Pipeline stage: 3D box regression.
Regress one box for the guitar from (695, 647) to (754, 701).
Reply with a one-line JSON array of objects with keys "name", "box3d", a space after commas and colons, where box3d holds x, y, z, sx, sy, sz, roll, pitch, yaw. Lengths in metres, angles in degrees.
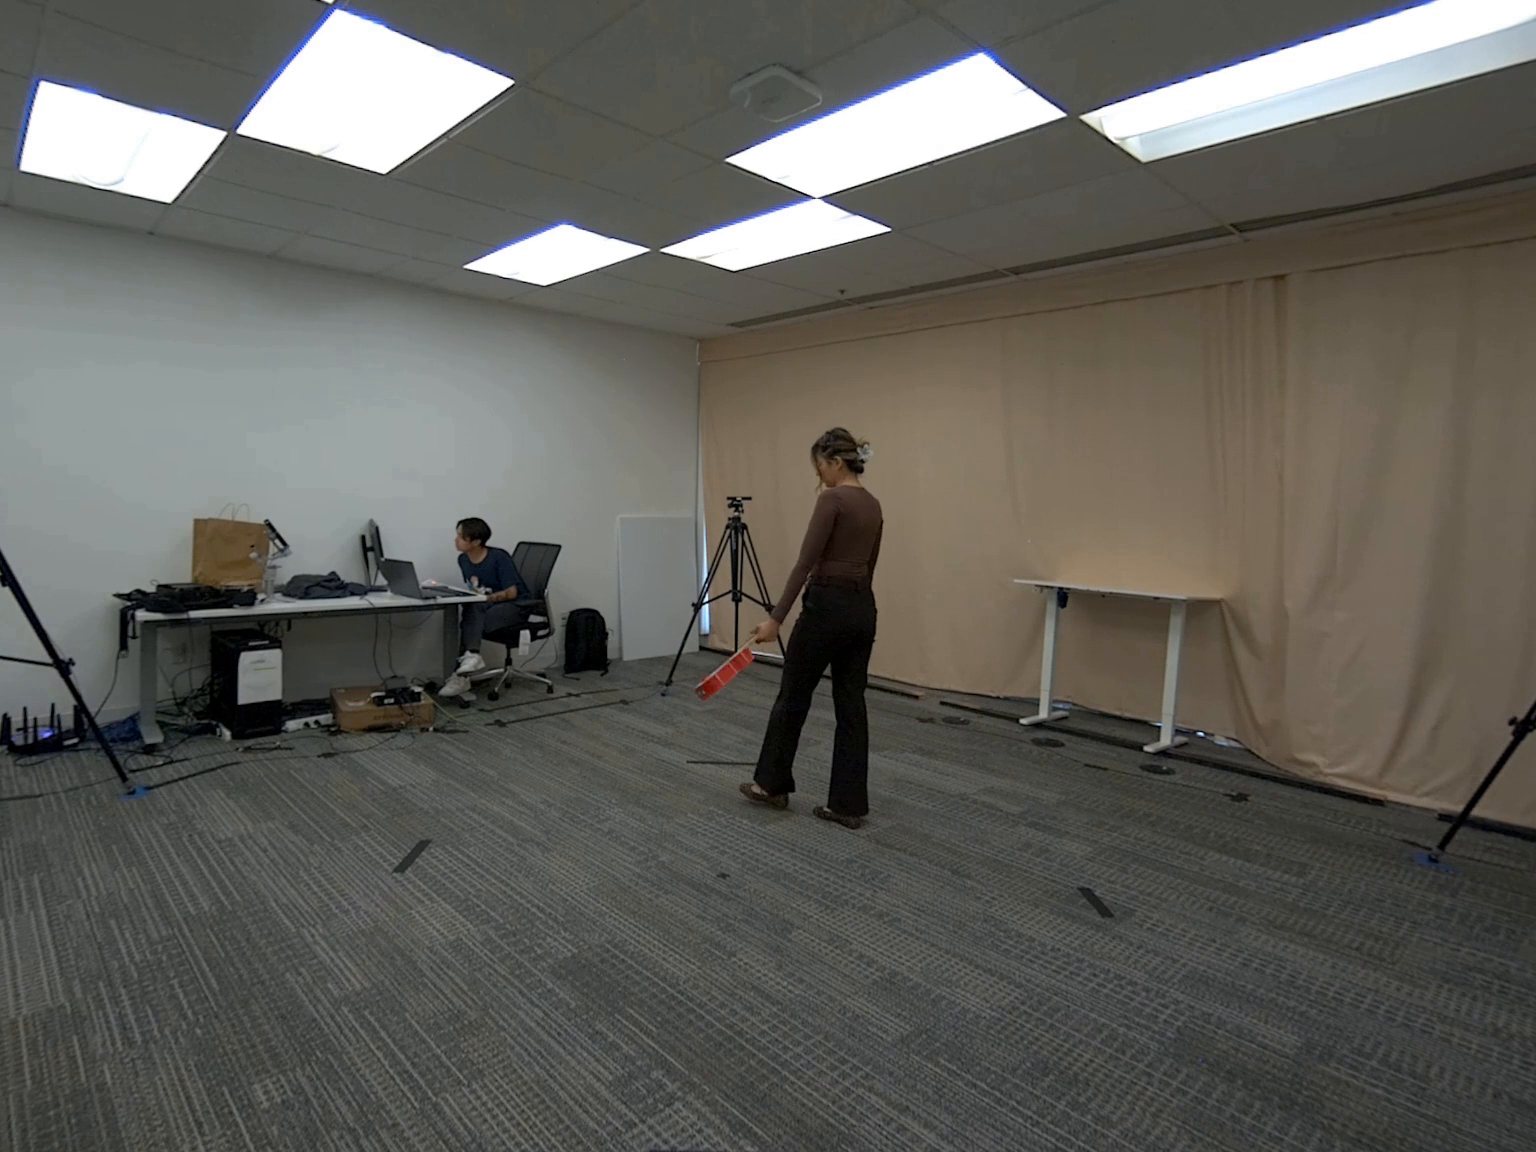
[{"name": "guitar", "box3d": [-0.100, 0.316, 3.391, 0.496, 0.071, 0.193, -39, 0, -16]}]
